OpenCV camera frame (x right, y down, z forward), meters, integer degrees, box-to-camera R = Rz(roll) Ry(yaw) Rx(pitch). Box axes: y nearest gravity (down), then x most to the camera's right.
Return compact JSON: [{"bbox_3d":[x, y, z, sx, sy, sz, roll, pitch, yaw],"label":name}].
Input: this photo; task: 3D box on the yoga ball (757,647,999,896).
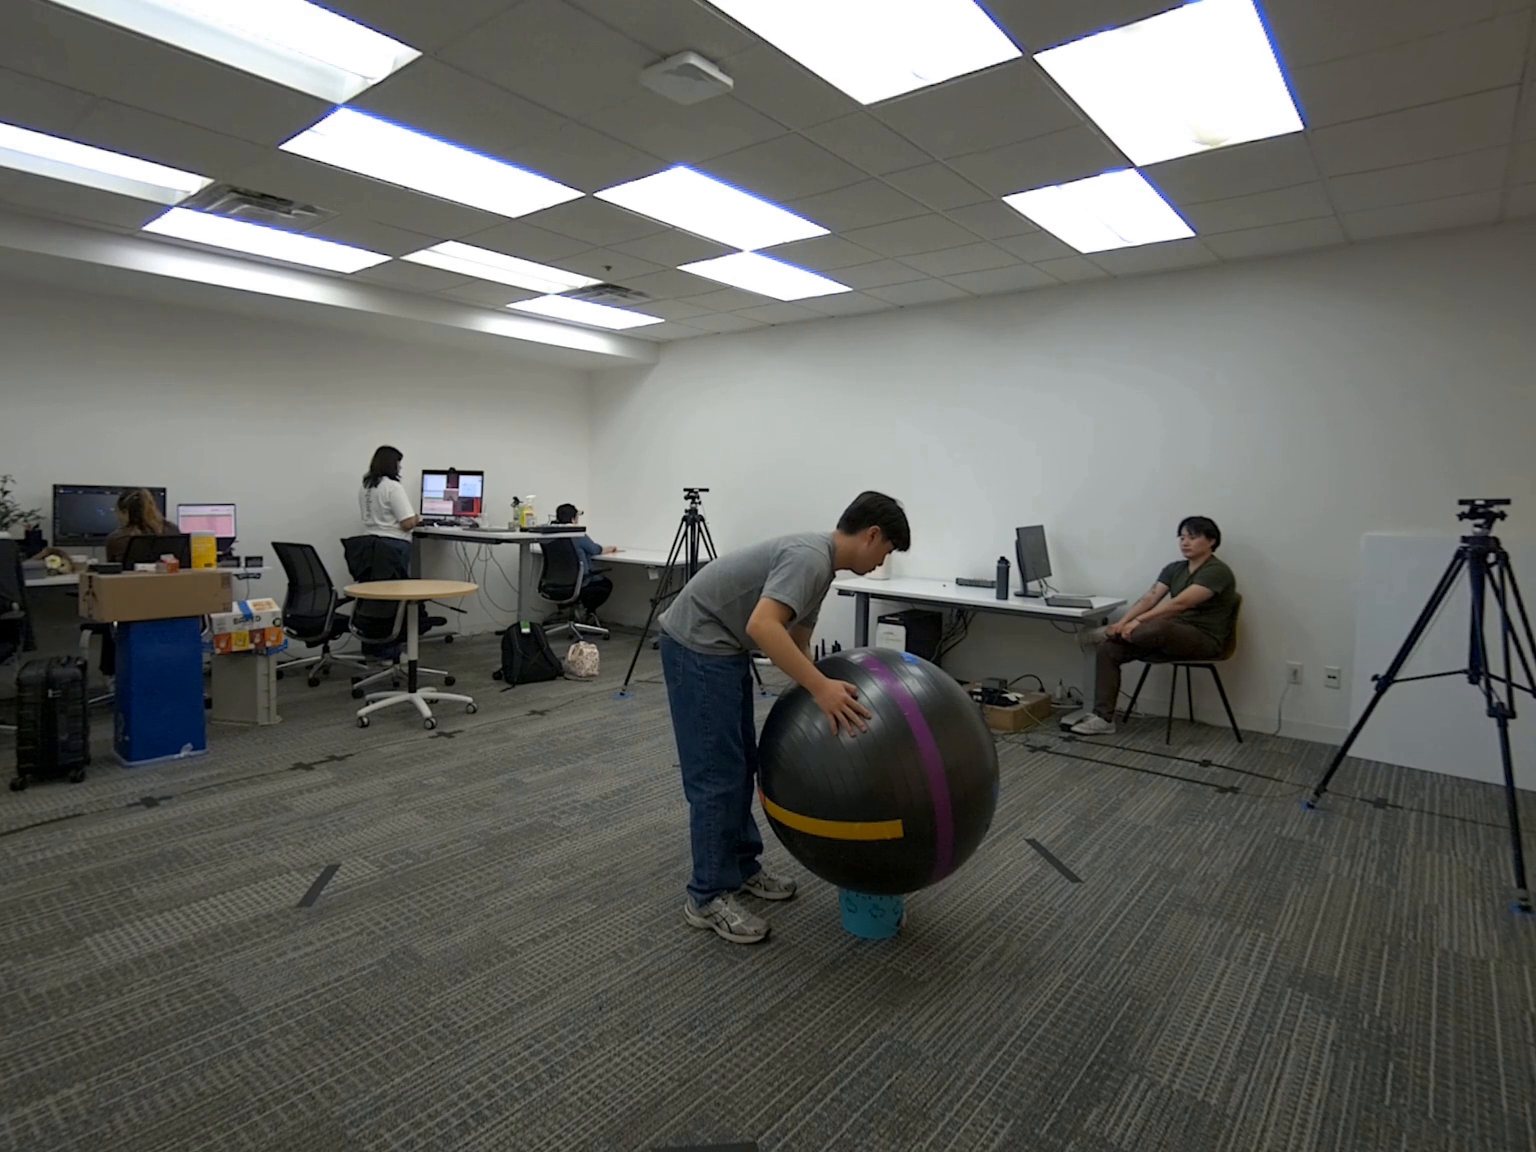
[{"bbox_3d":[0.332,0.614,2.714,0.757,0.756,0.761,1,4,-2],"label":"yoga ball"}]
